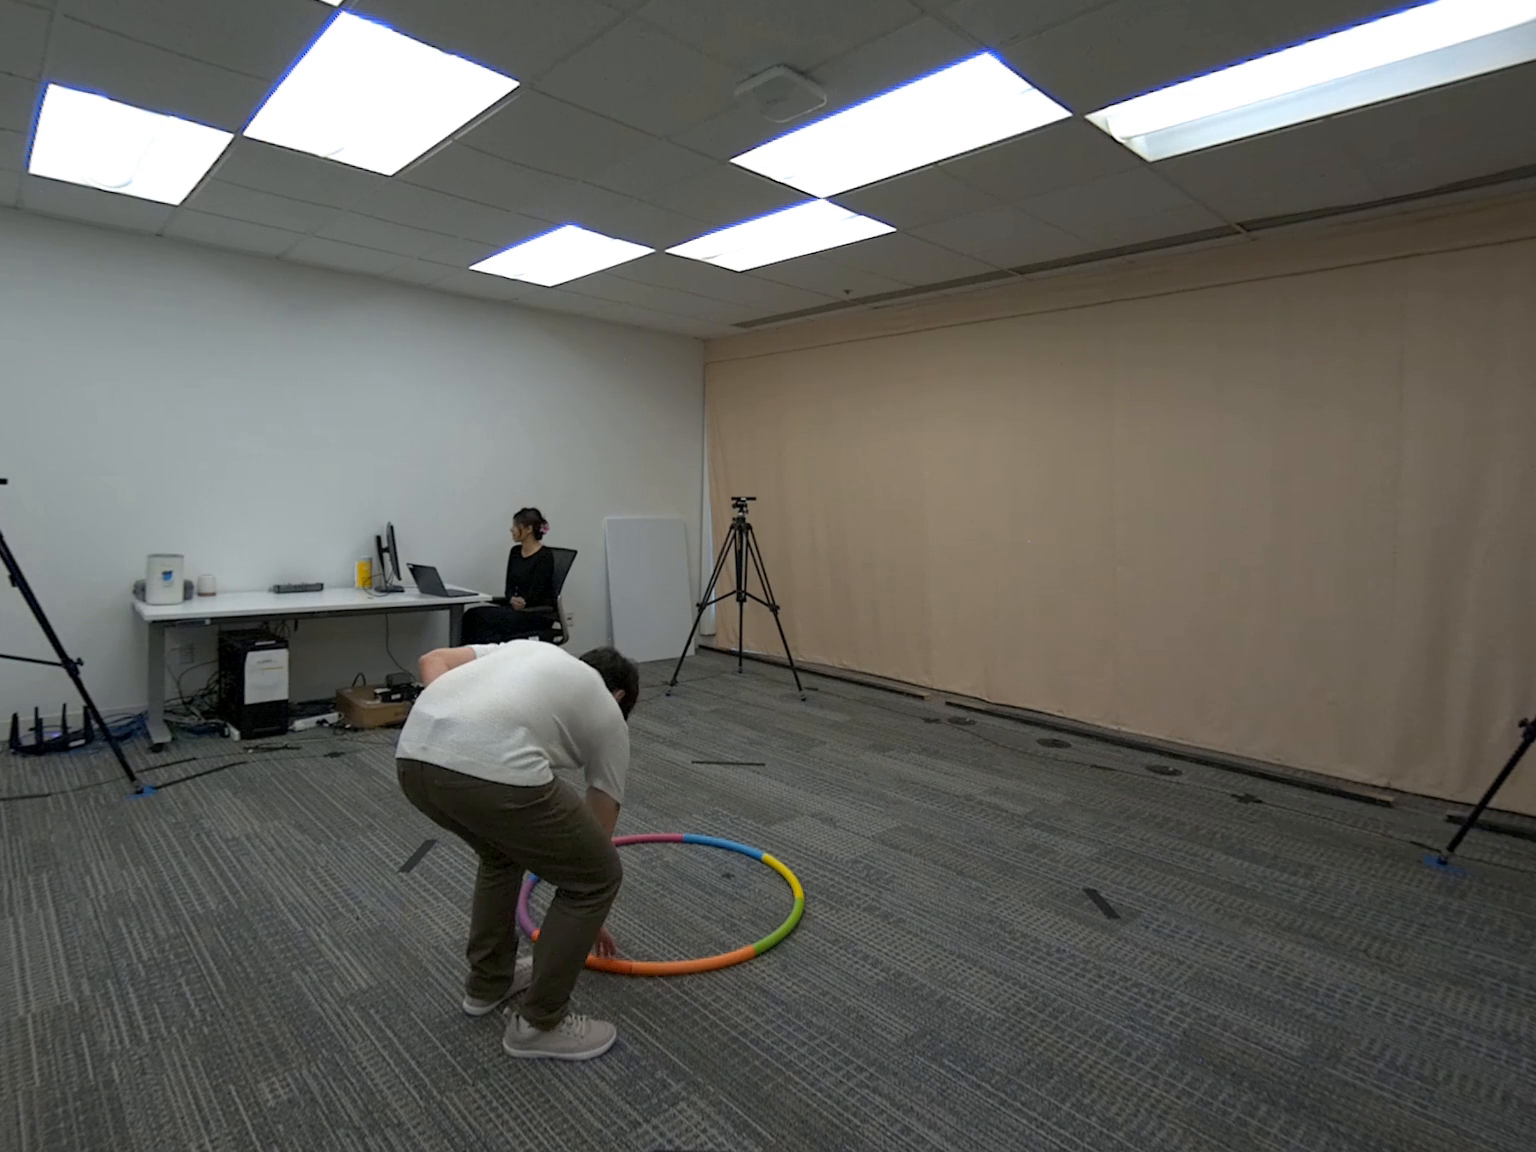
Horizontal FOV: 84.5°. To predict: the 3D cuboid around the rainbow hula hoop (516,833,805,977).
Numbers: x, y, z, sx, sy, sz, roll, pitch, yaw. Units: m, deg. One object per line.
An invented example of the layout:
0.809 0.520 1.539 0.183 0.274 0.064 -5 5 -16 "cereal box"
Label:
-0.371 1.086 2.925 0.978 0.035 0.982 1 5 -1 "rainbow hula hoop"
